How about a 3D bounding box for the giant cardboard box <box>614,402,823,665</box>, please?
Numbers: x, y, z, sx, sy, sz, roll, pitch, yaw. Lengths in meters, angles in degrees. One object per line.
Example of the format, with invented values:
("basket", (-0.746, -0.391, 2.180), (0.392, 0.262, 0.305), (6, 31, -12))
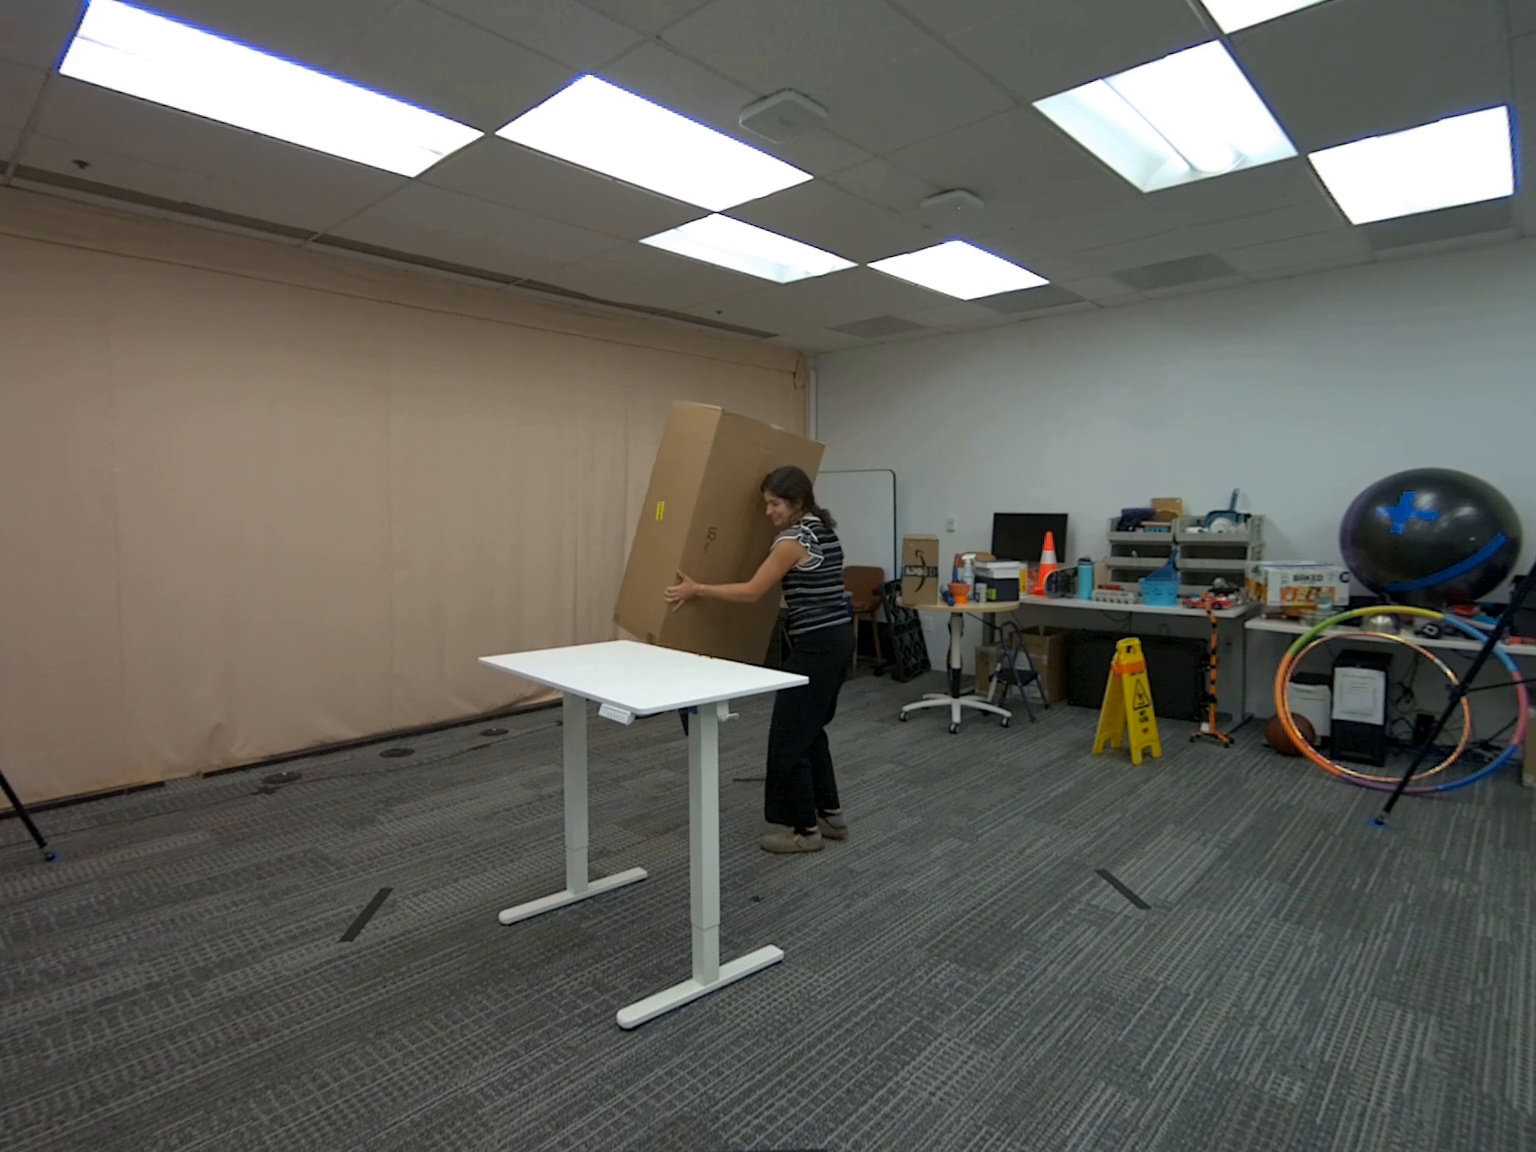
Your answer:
("giant cardboard box", (-0.219, -0.175, 3.743), (0.558, 1.024, 0.441), (13, 5, -37))
